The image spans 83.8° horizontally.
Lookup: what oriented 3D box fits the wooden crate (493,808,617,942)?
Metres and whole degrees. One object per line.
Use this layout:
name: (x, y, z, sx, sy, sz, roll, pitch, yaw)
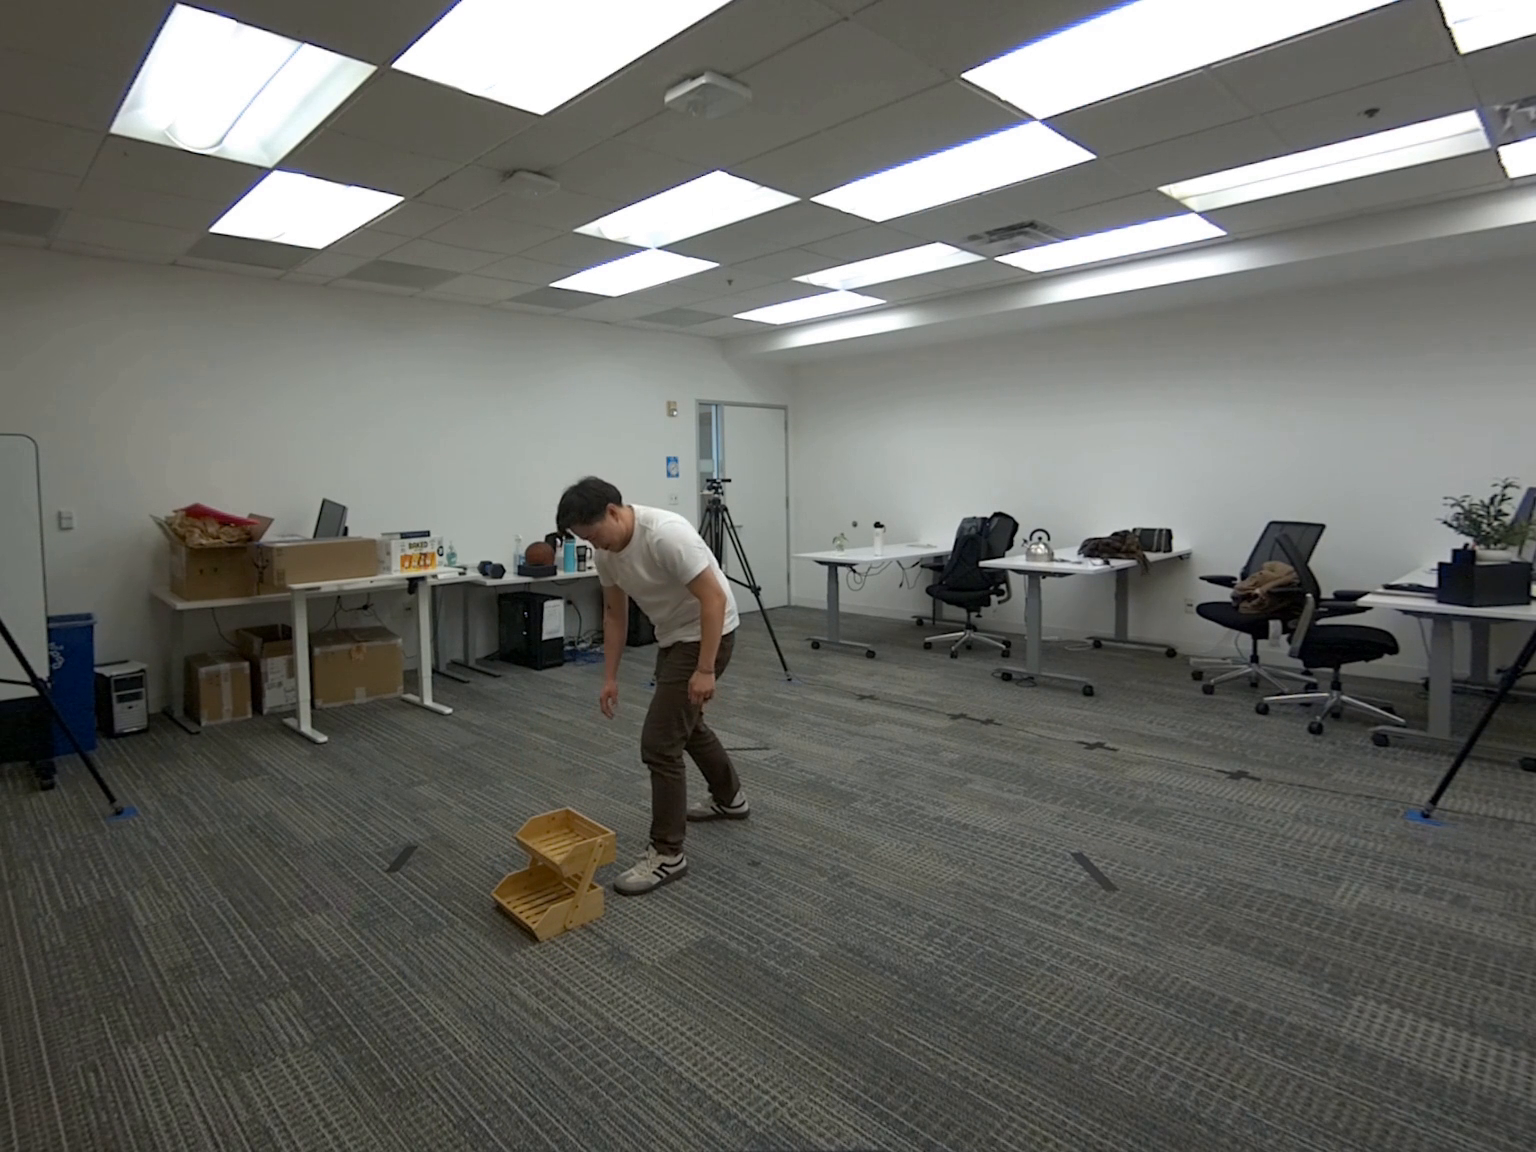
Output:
wooden crate: (-0.708, 0.962, 2.794, 0.294, 0.272, 0.334, -5, 6, -42)
